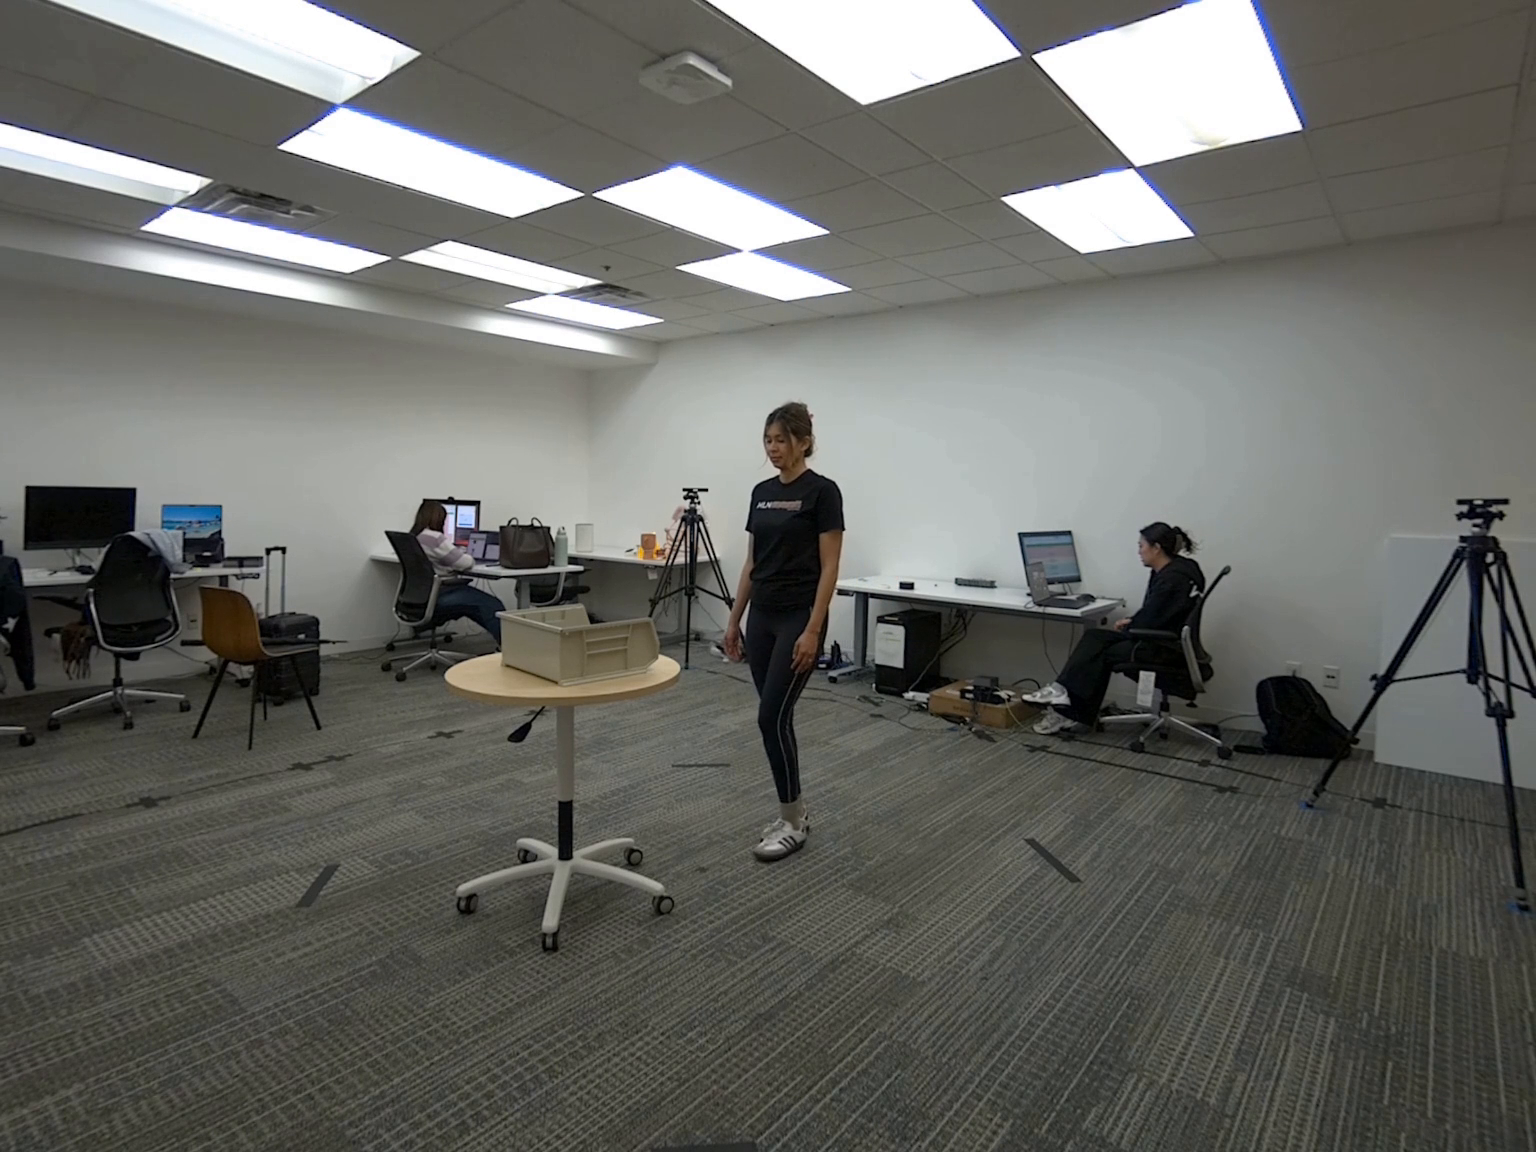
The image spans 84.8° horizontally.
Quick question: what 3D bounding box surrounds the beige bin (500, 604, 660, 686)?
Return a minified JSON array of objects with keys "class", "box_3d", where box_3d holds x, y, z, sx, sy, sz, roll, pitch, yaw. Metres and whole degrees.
[{"class":"beige bin","box_3d":[-0.654,0.221,2.825,0.366,0.188,0.437,-6,9,-44]}]
